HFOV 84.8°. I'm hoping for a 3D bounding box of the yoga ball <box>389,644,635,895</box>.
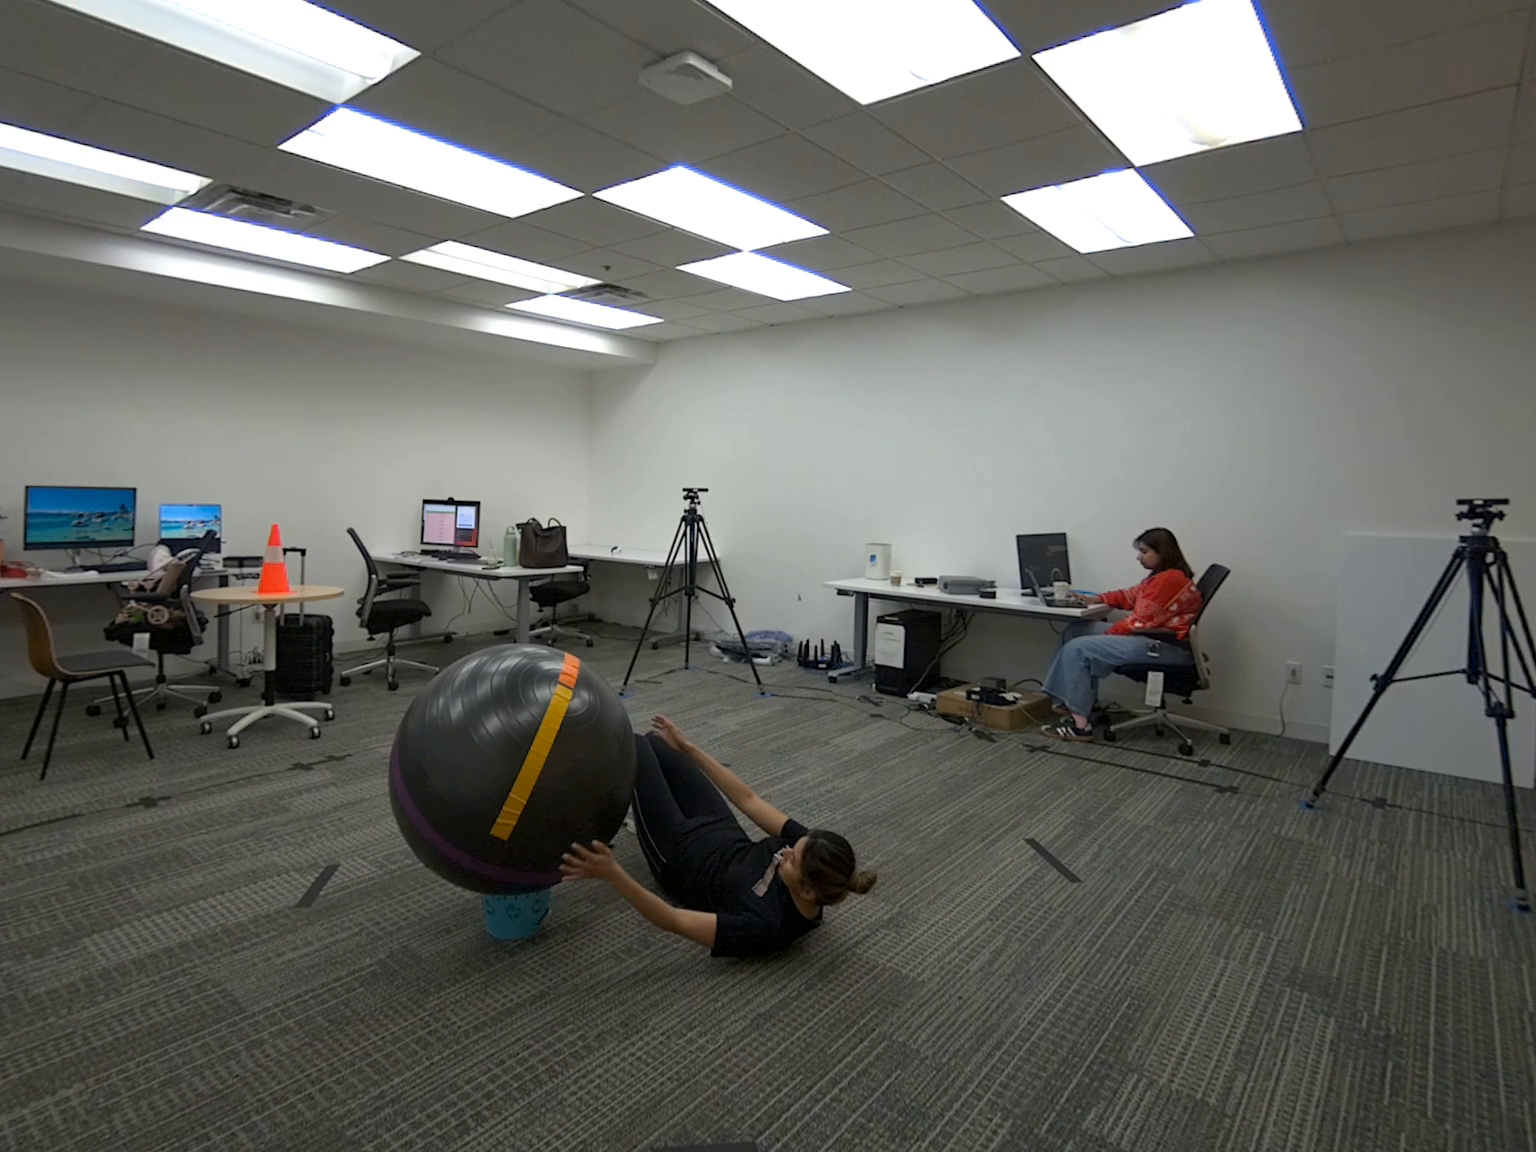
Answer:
[{"bbox_3d":[-0.798,0.598,2.664,0.757,0.756,0.761,-3,3,-2],"label":"yoga ball"}]
